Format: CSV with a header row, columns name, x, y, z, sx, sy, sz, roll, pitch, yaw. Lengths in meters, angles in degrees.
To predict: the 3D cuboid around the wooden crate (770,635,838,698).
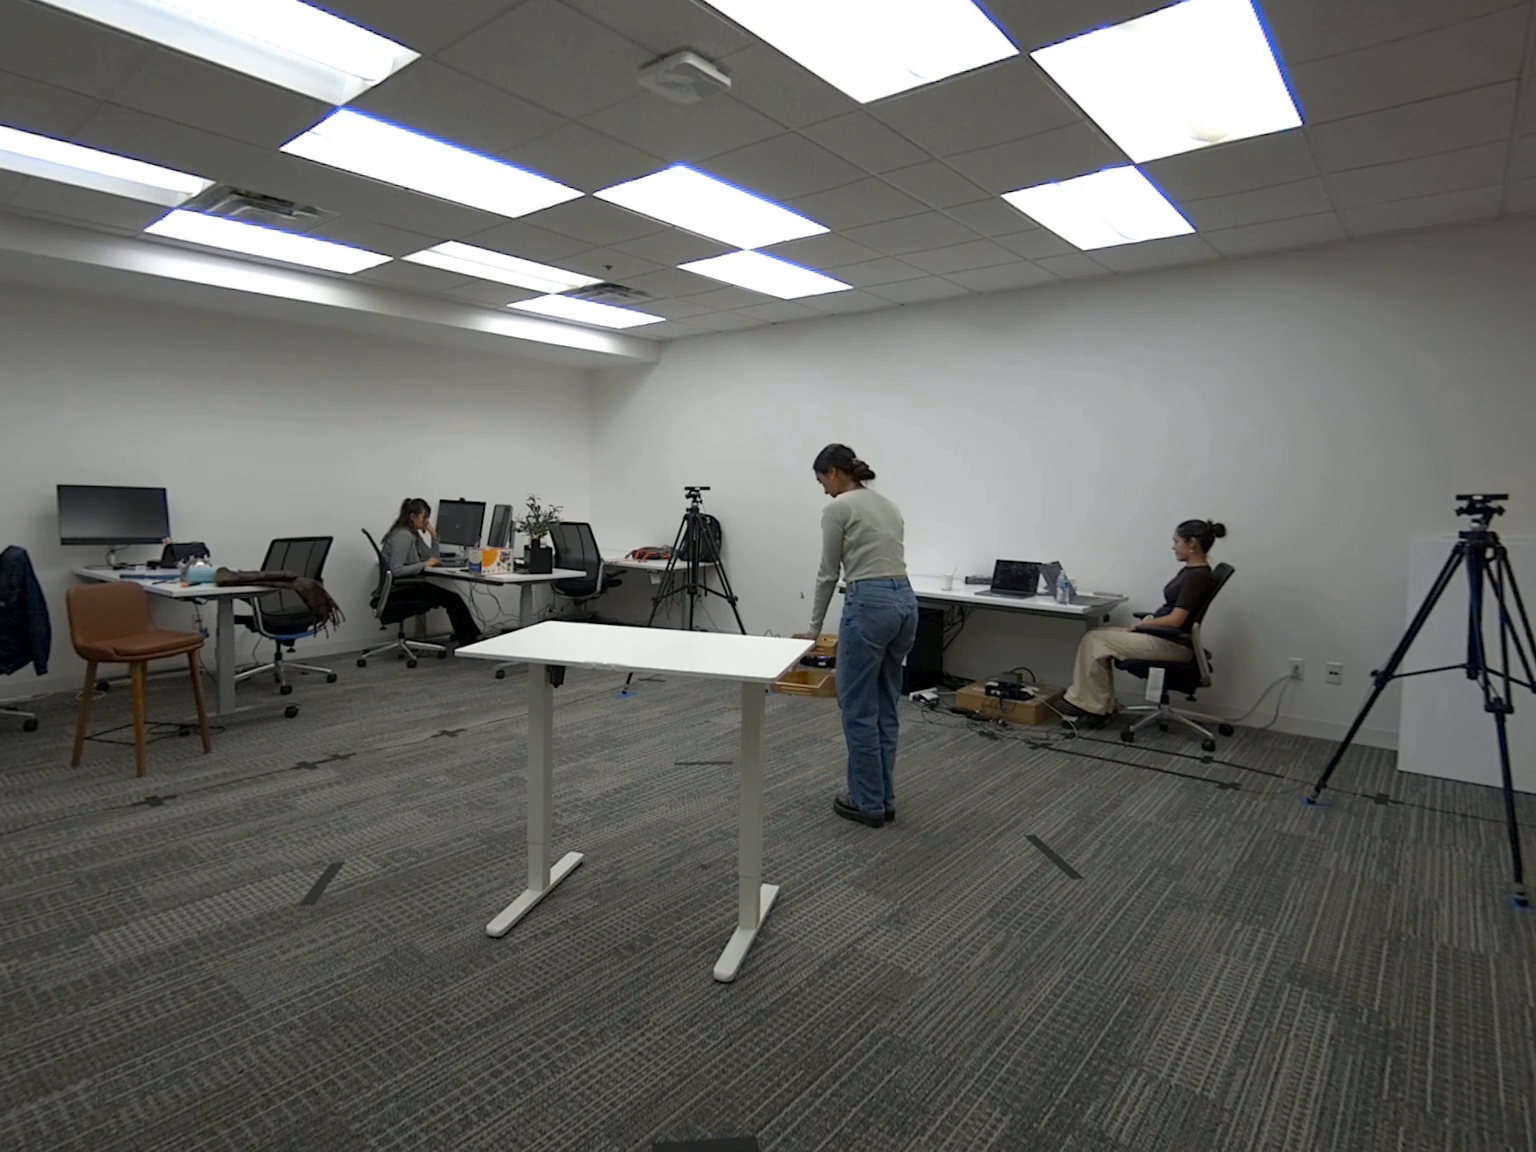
name,x,y,z,sx,sy,sz,roll,pitch,yaw
wooden crate,0.201,0.388,3.817,0.292,0.274,0.334,4,-5,-42
